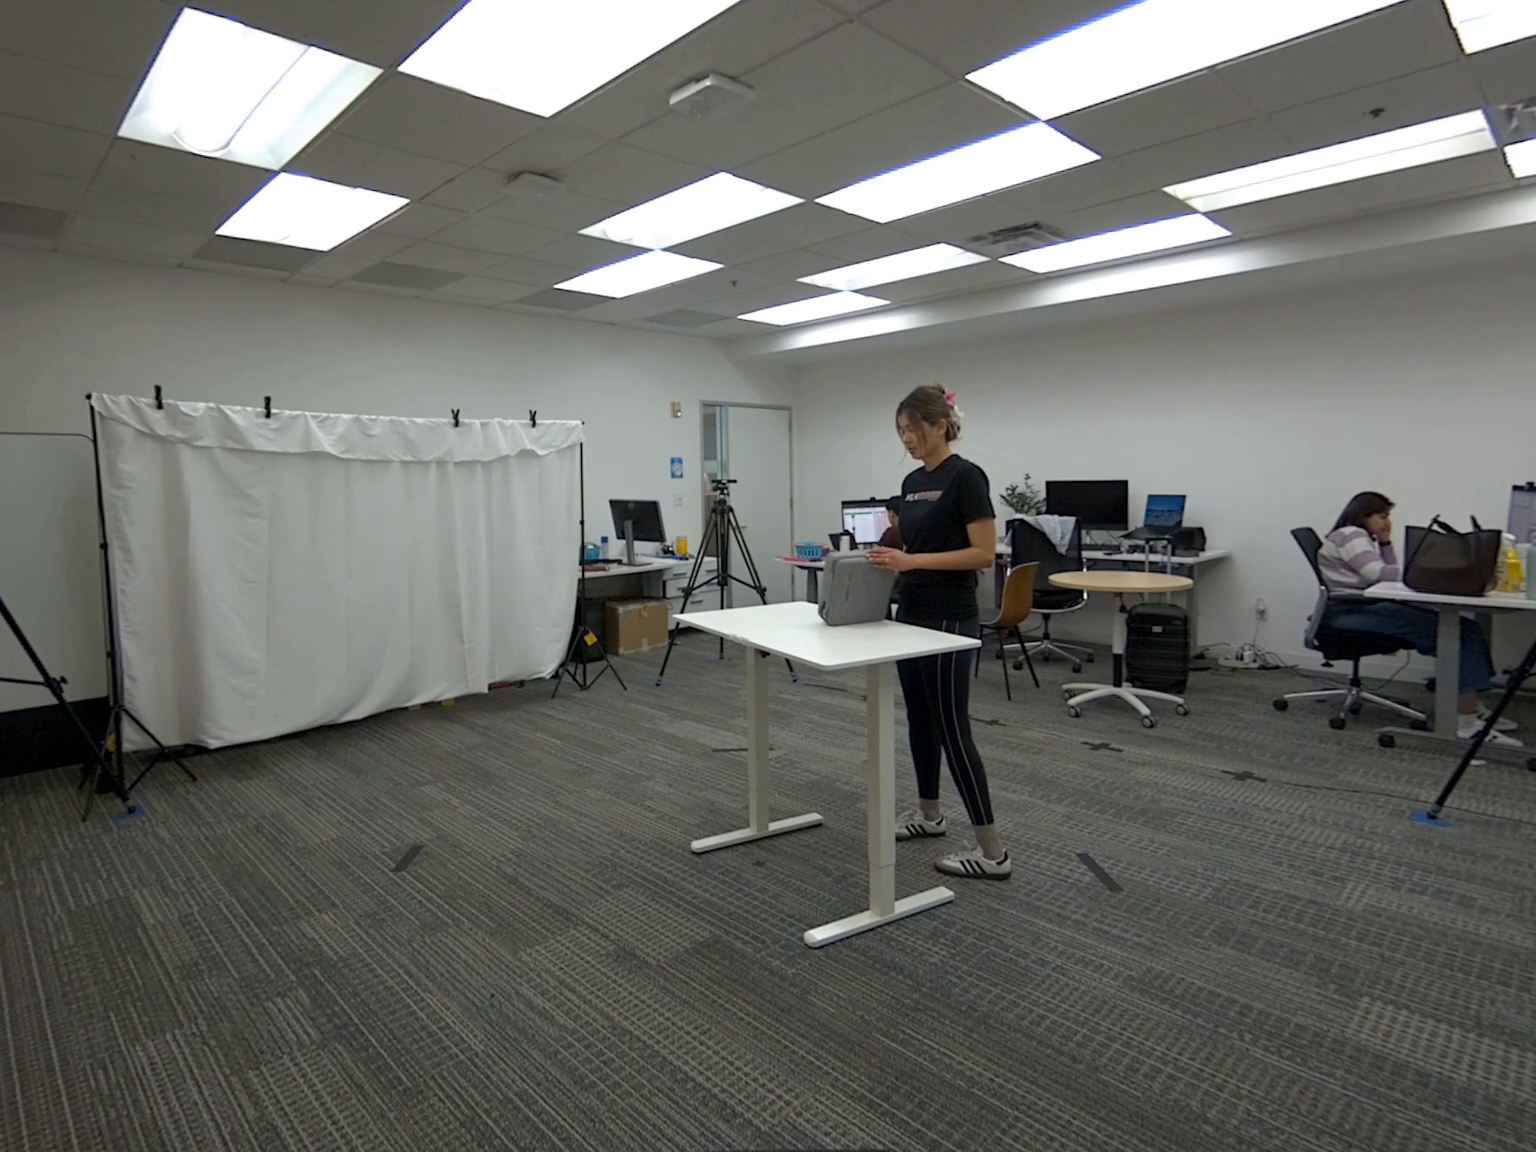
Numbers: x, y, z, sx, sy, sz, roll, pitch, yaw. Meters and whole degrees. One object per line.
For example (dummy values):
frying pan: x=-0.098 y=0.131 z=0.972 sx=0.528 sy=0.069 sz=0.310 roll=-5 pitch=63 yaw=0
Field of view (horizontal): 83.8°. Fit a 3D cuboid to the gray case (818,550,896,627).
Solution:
gray case: x=0.319 y=0.035 z=3.004 sx=0.255 sy=0.253 sz=0.108 roll=-3 pitch=21 yaw=-29
